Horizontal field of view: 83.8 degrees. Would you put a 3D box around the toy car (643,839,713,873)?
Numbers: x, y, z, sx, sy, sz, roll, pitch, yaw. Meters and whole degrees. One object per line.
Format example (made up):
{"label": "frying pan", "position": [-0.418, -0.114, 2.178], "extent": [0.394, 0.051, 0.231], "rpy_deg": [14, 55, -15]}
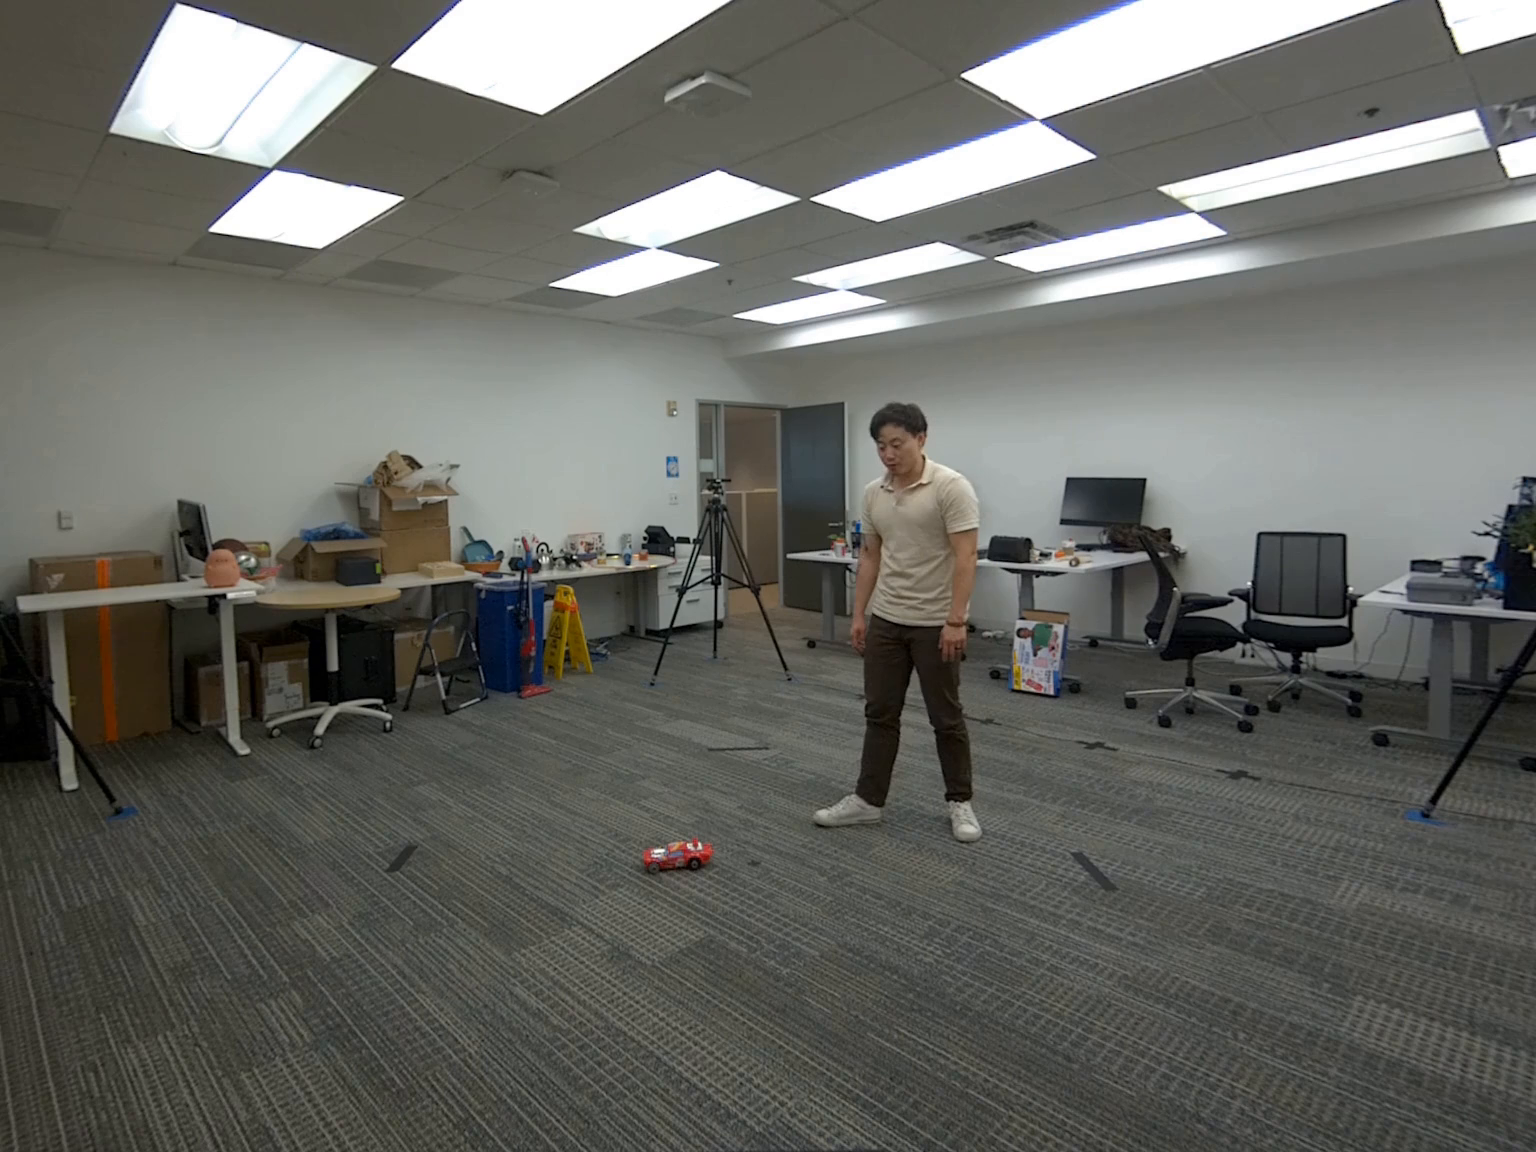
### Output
{"label": "toy car", "position": [-0.324, 1.016, 3.098], "extent": [0.253, 0.083, 0.132], "rpy_deg": [-12, 7, -6]}
